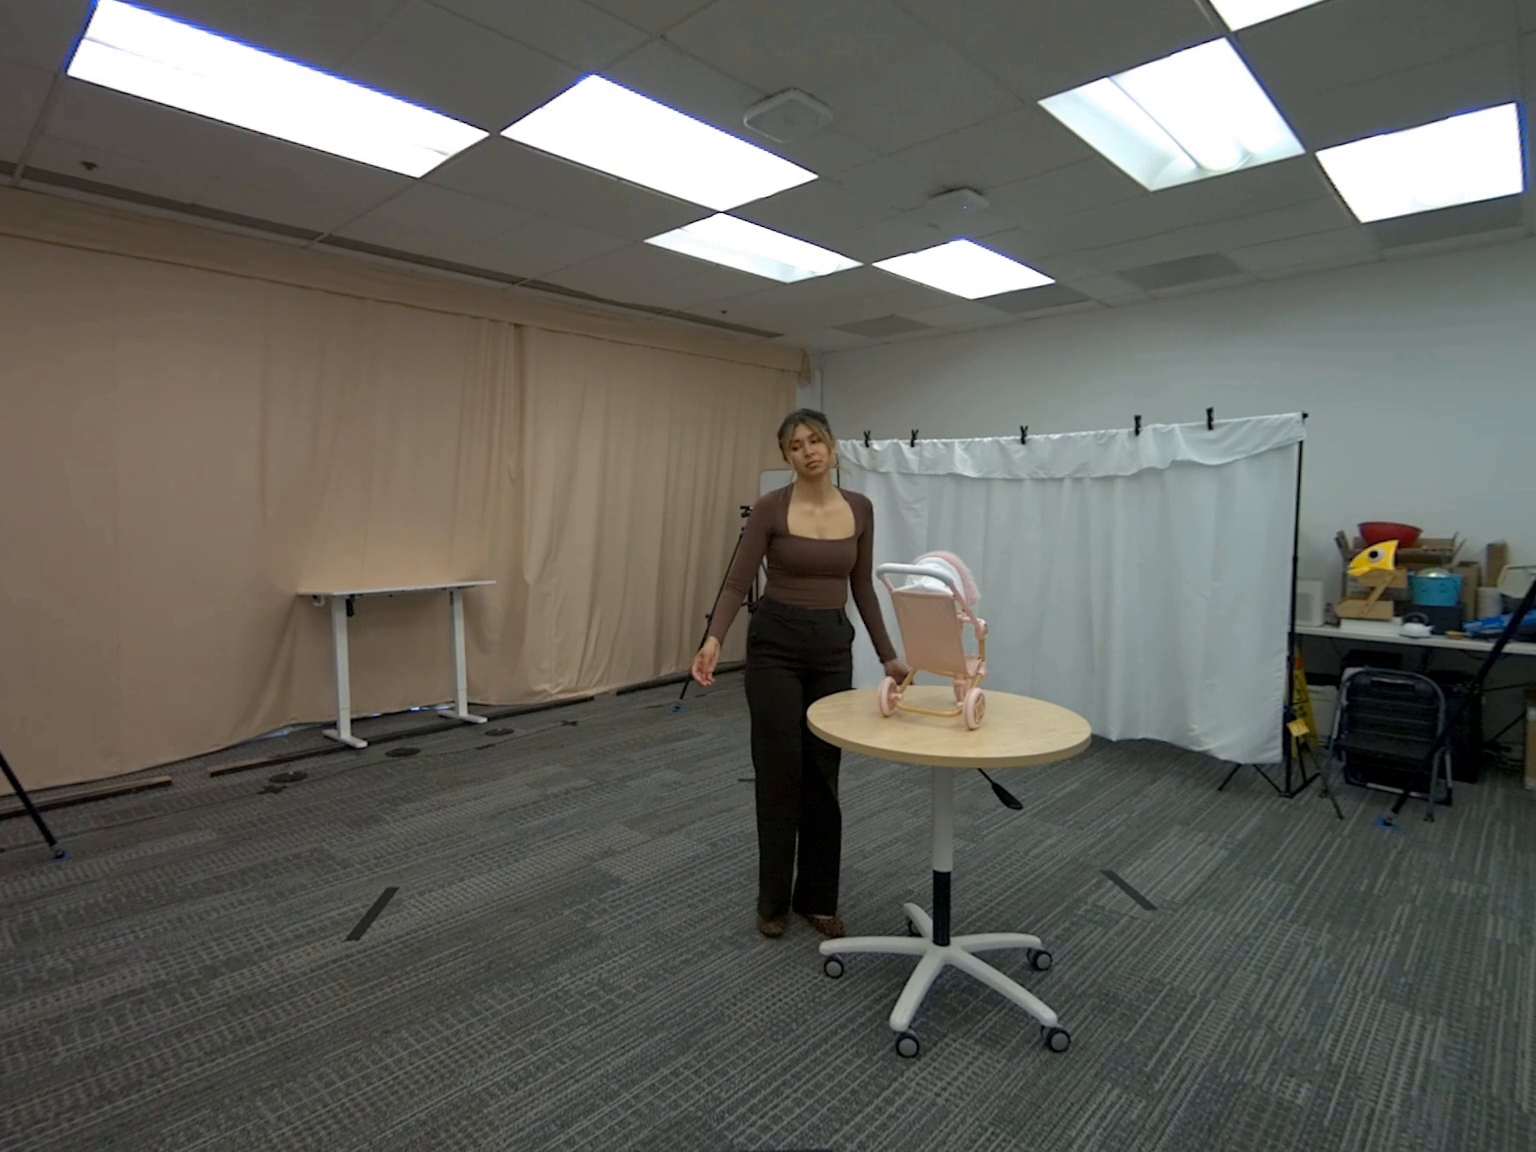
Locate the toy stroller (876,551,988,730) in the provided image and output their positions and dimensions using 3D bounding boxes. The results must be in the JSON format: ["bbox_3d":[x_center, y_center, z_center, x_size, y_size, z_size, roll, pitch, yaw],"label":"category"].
[{"bbox_3d":[0.492,0.174,2.346,0.290,0.529,0.334,2,18,38],"label":"toy stroller"}]
